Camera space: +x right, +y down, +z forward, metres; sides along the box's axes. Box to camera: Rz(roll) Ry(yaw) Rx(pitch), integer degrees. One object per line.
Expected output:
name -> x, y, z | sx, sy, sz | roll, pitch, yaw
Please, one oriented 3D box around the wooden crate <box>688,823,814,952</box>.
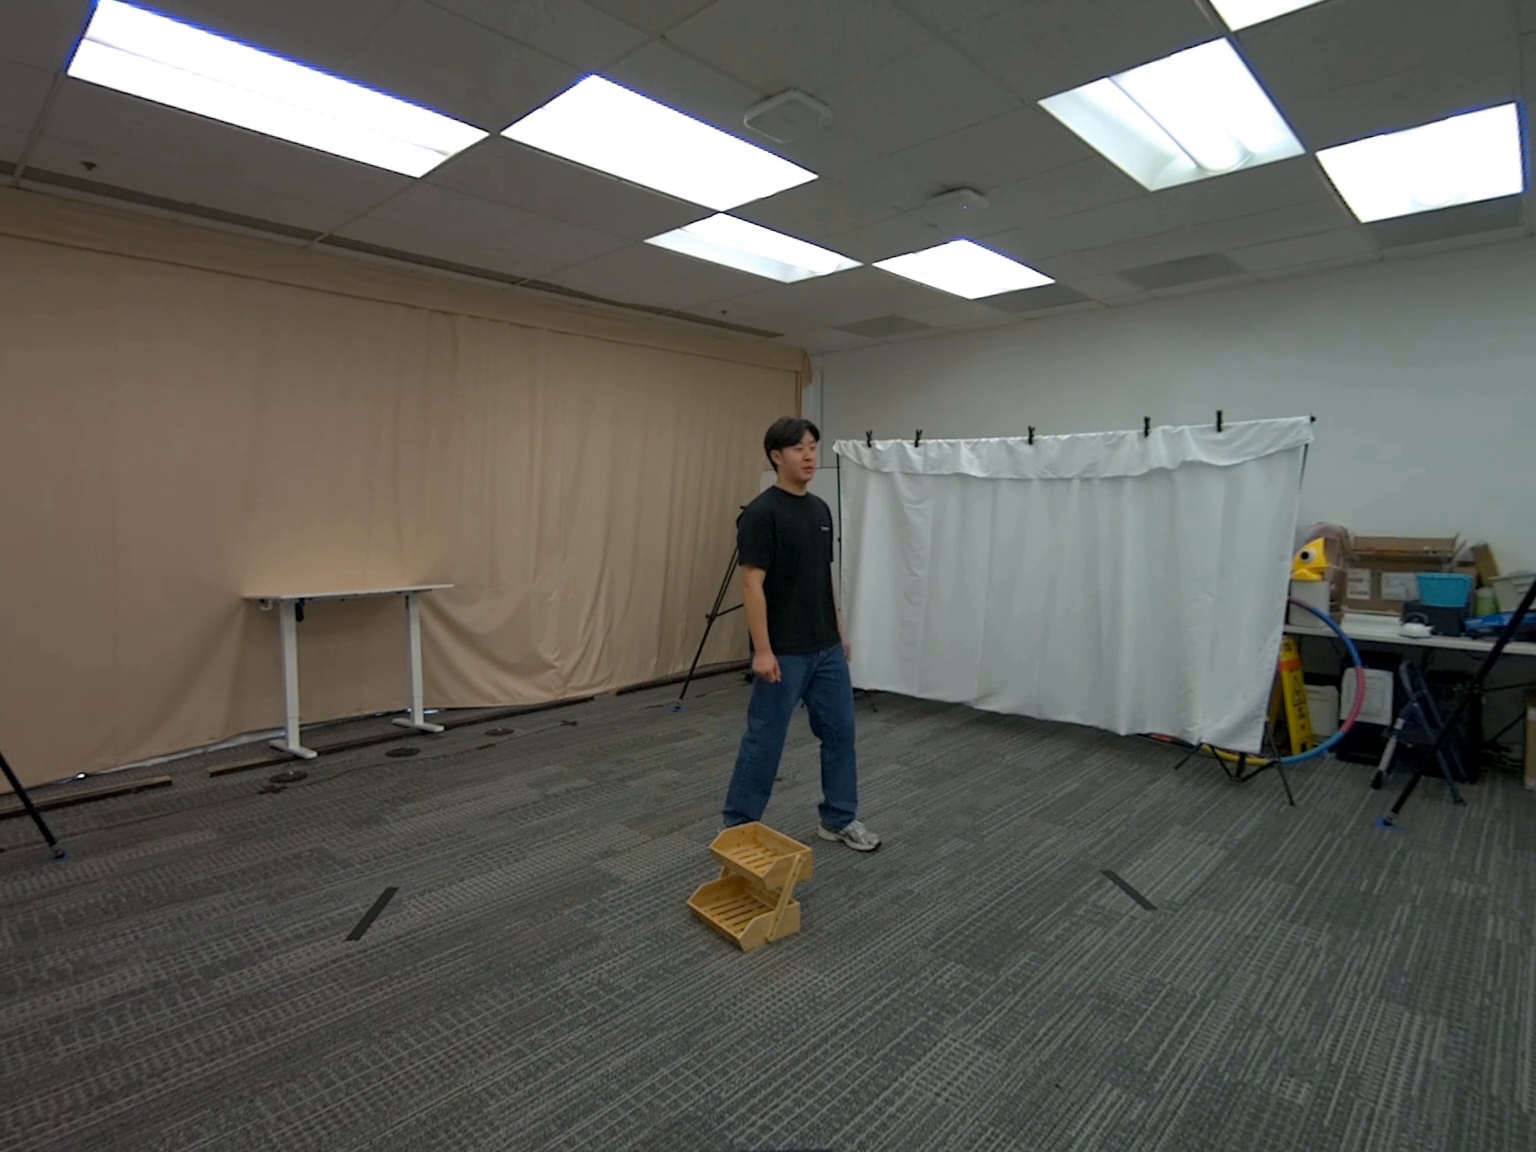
wooden crate -> -0.065, 1.021, 2.818 | 0.293, 0.273, 0.335 | -2, 4, -38
